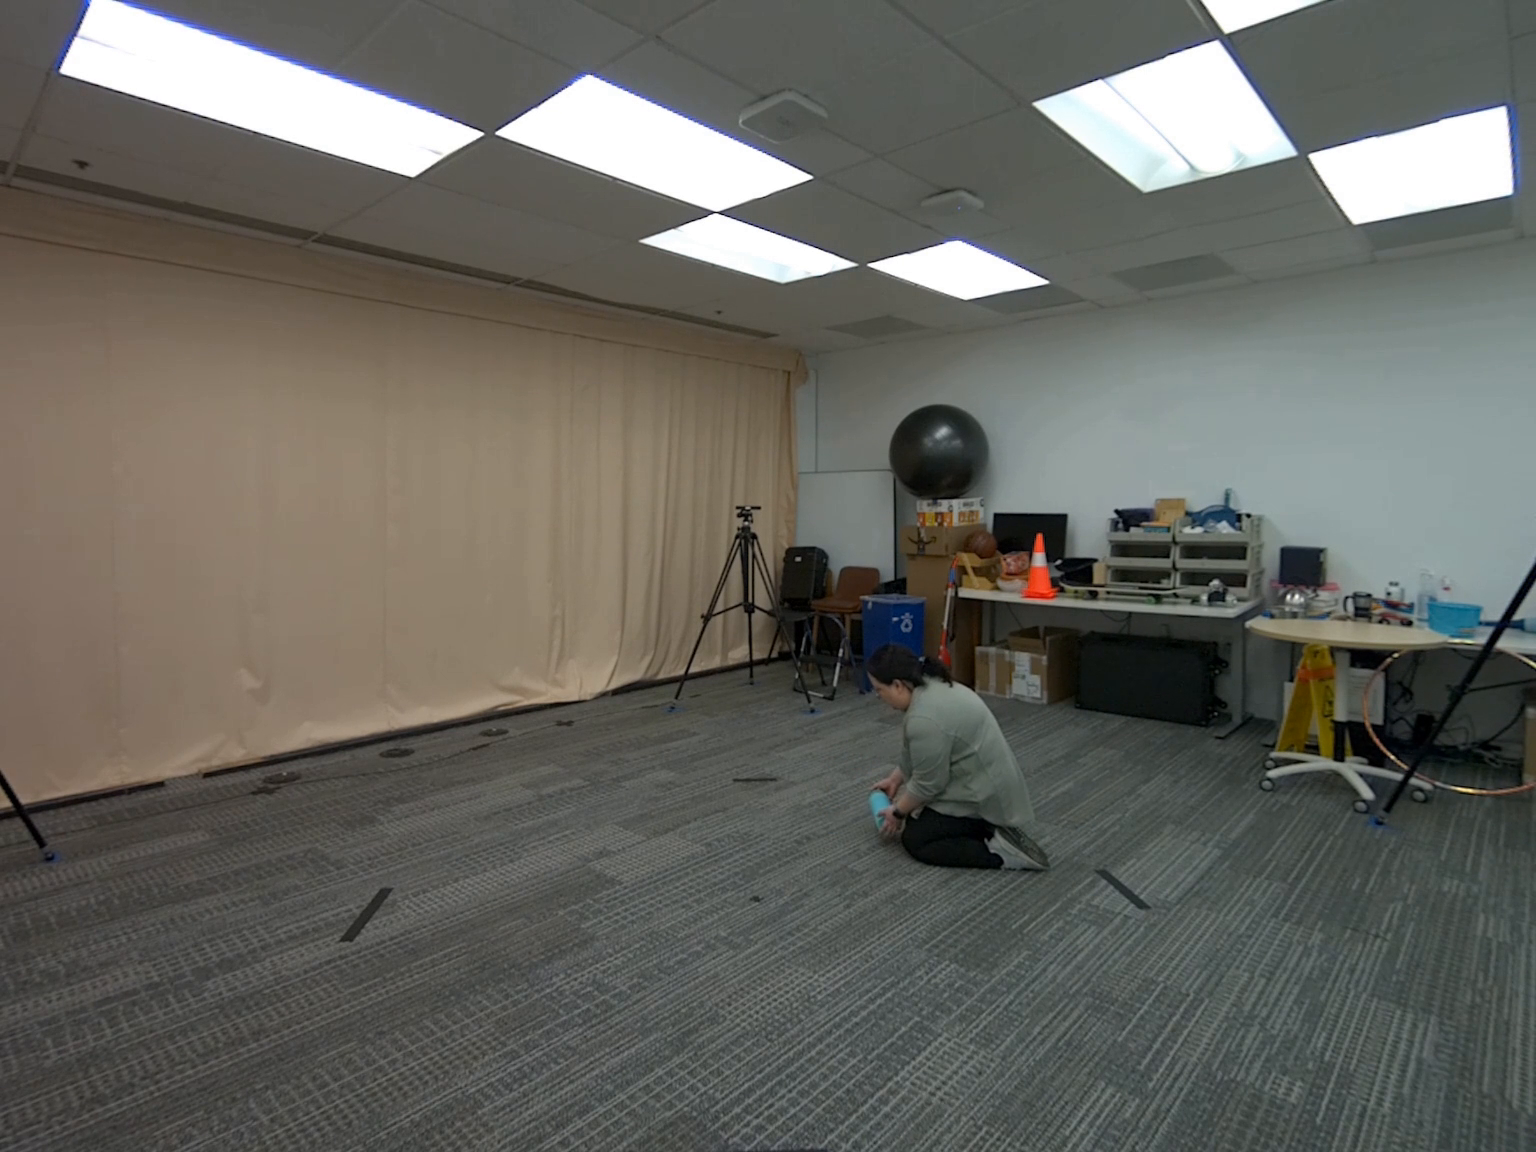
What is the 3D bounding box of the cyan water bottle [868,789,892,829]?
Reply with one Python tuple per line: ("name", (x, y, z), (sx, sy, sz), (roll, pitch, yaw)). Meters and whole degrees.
("cyan water bottle", (0.494, 0.996, 3.558), (0.092, 0.092, 0.284), (0, 7, -1))
